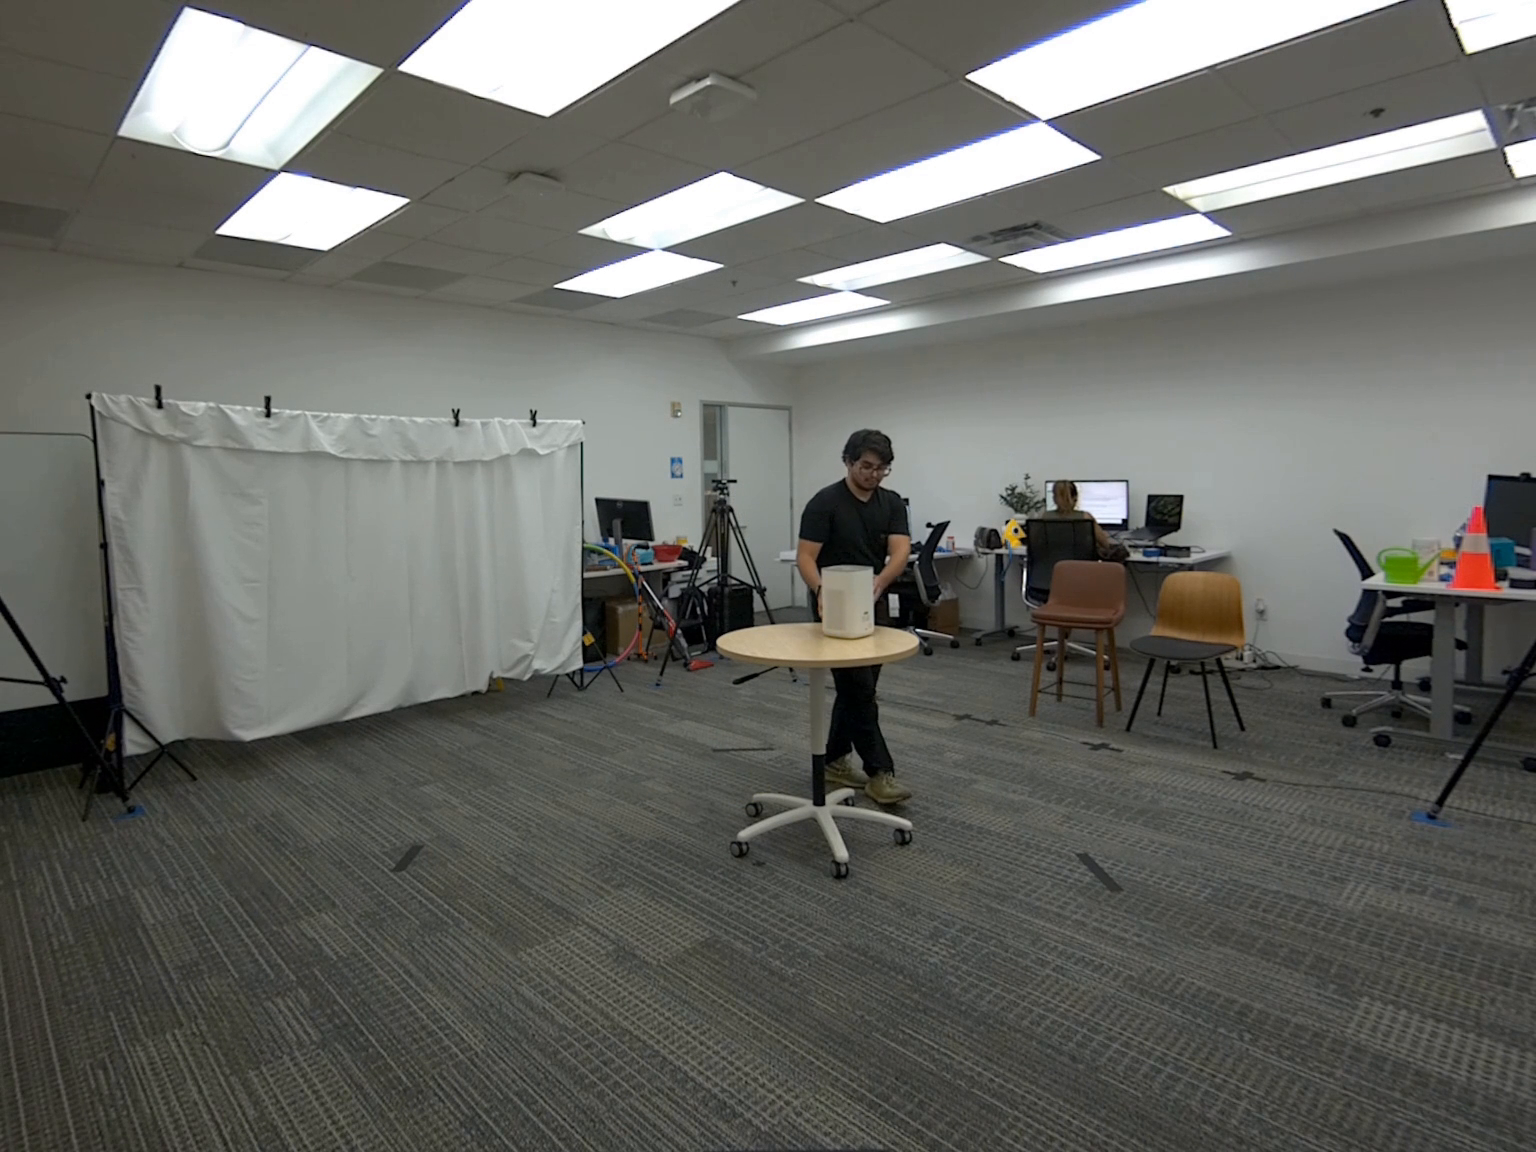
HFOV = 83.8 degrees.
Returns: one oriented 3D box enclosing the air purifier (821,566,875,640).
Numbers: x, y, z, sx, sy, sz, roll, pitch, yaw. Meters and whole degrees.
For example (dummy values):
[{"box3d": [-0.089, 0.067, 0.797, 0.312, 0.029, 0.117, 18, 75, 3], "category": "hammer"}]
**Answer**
[{"box3d": [0.315, 0.103, 3.318, 0.177, 0.264, 0.166, 3, 6, 40], "category": "air purifier"}]
